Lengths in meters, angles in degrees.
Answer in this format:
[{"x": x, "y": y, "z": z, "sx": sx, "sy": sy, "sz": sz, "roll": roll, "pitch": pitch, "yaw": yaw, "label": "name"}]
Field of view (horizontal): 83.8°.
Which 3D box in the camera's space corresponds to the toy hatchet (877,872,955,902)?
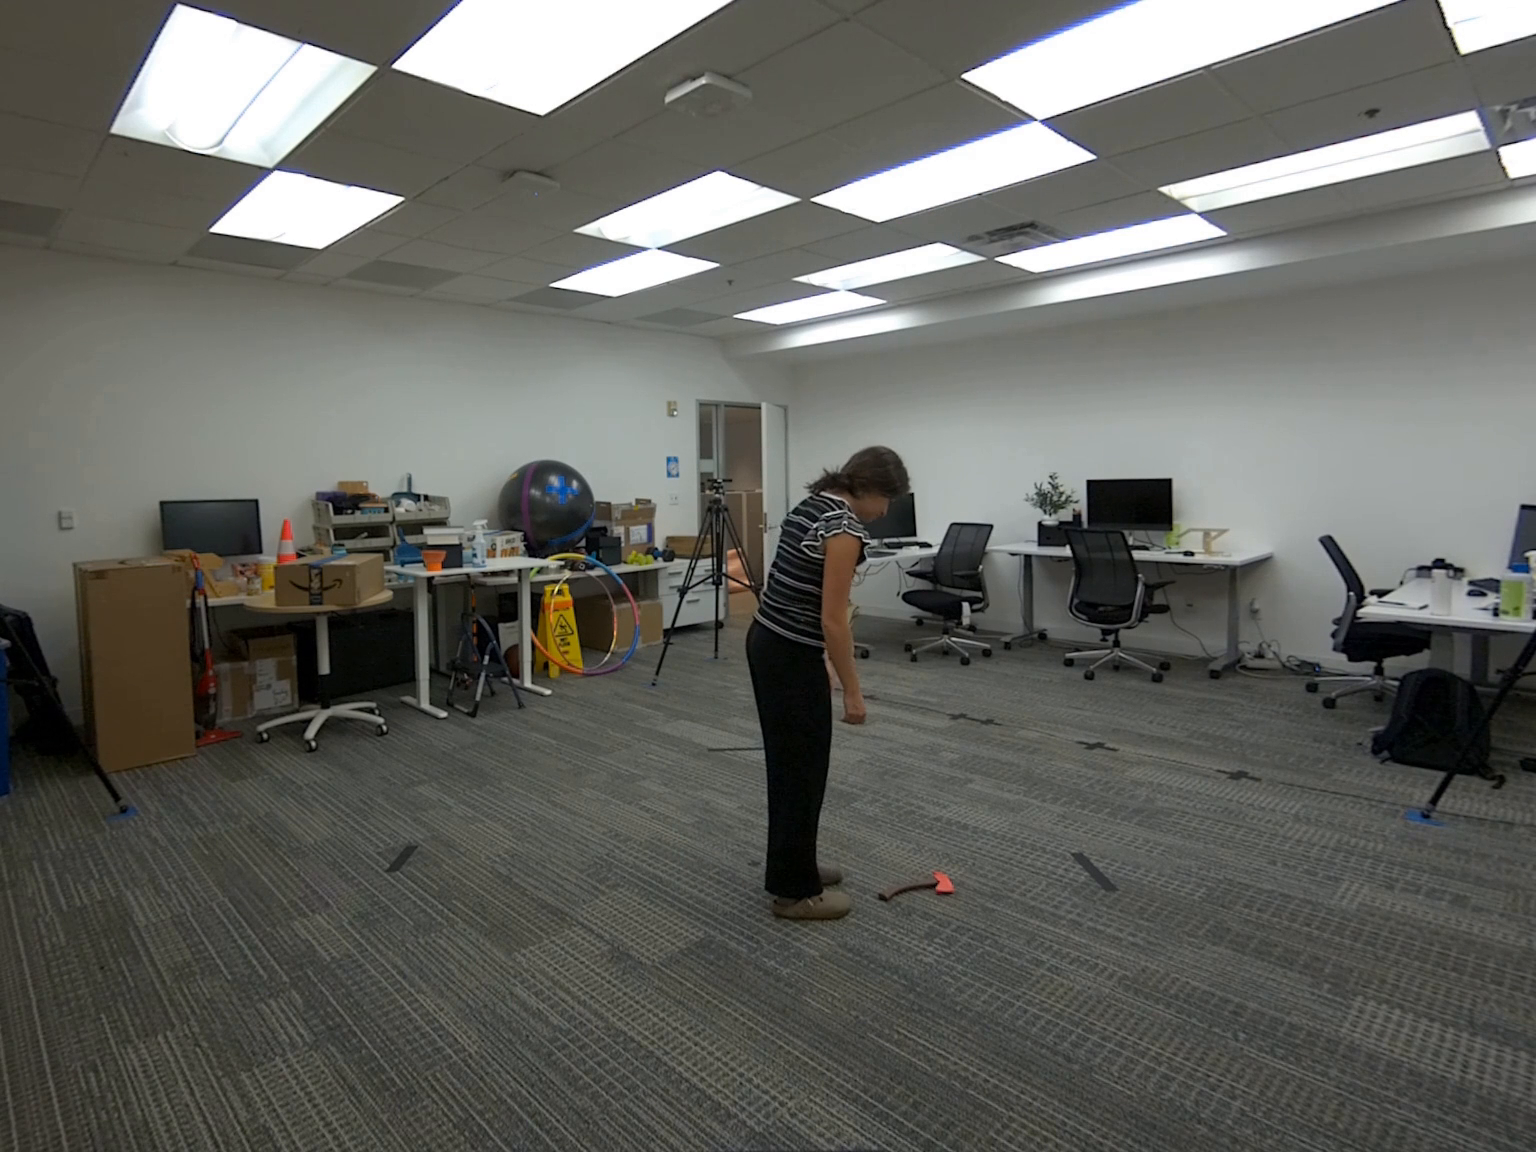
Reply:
[{"x": 0.505, "y": 1.042, "z": 2.857, "sx": 0.264, "sy": 0.029, "sz": 0.135, "roll": -8, "pitch": 11, "yaw": -32, "label": "toy hatchet"}]
